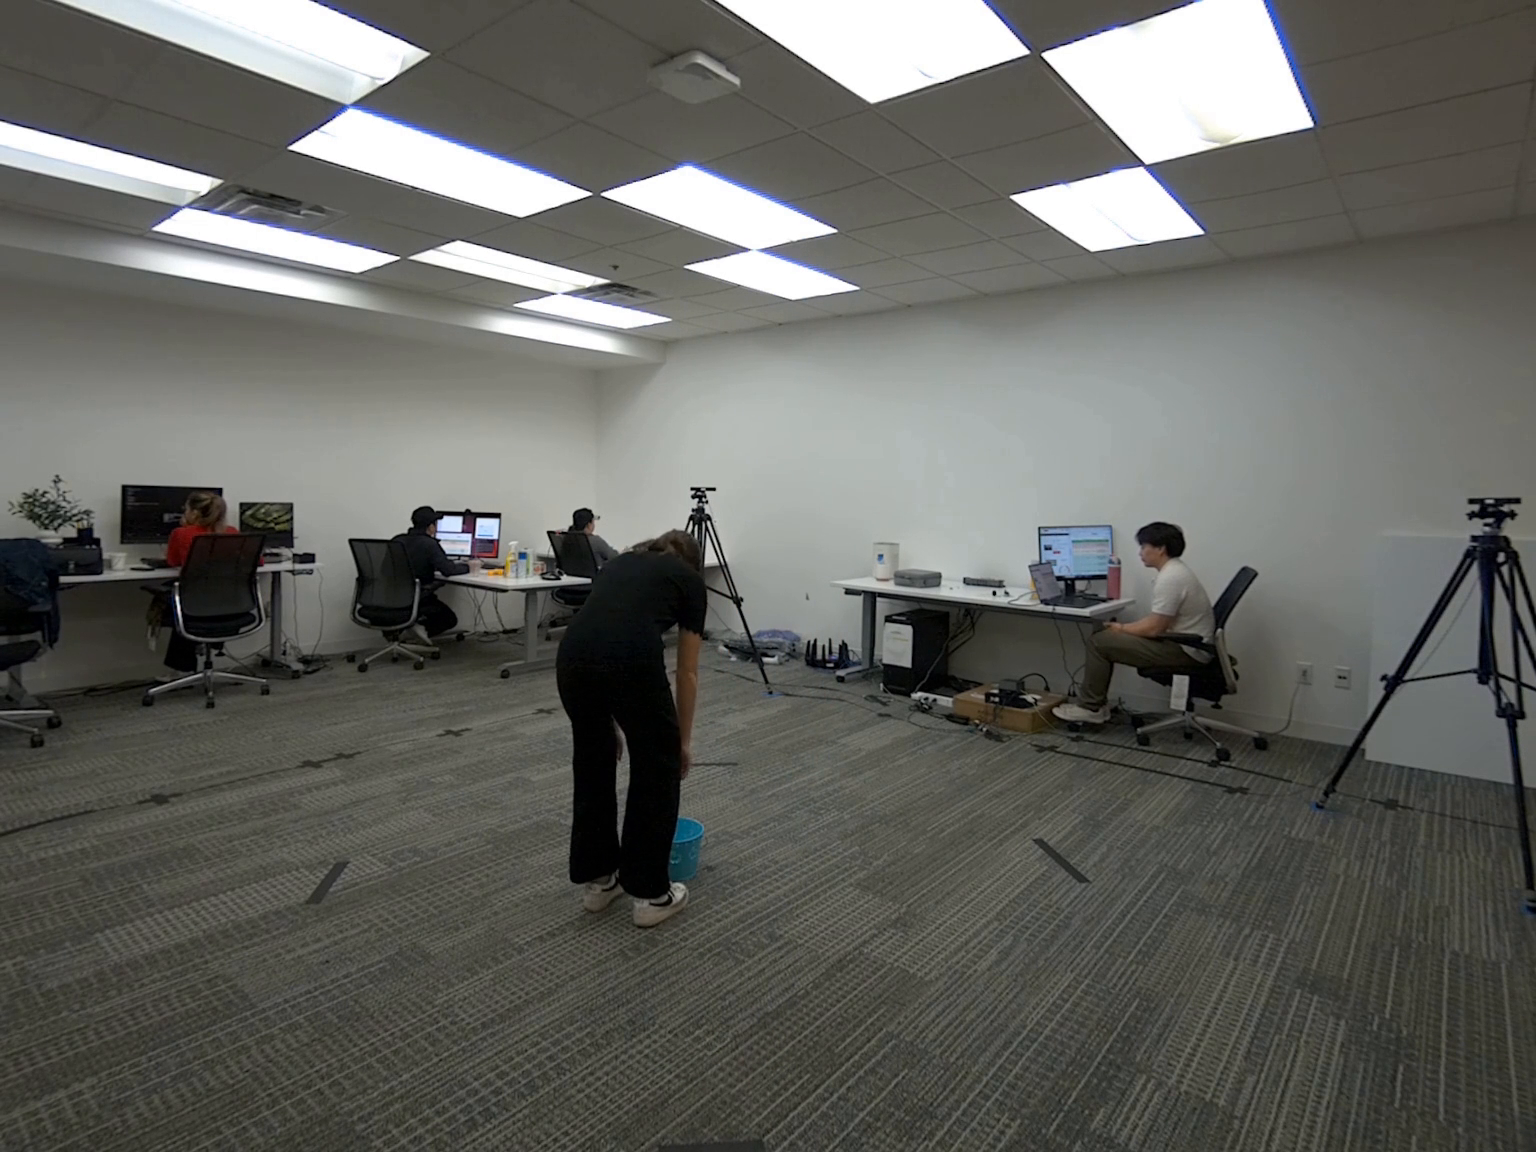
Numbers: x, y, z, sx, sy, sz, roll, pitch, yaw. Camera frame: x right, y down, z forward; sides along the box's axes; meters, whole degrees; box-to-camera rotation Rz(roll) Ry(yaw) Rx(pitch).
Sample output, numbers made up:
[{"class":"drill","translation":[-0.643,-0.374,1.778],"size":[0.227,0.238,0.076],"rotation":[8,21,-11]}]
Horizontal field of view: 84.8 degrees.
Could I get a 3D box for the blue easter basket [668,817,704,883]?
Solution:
[{"class":"blue easter basket","translation":[-0.352,0.988,3.089],"size":[0.243,0.155,0.245],"rotation":[0,5,-2]}]
